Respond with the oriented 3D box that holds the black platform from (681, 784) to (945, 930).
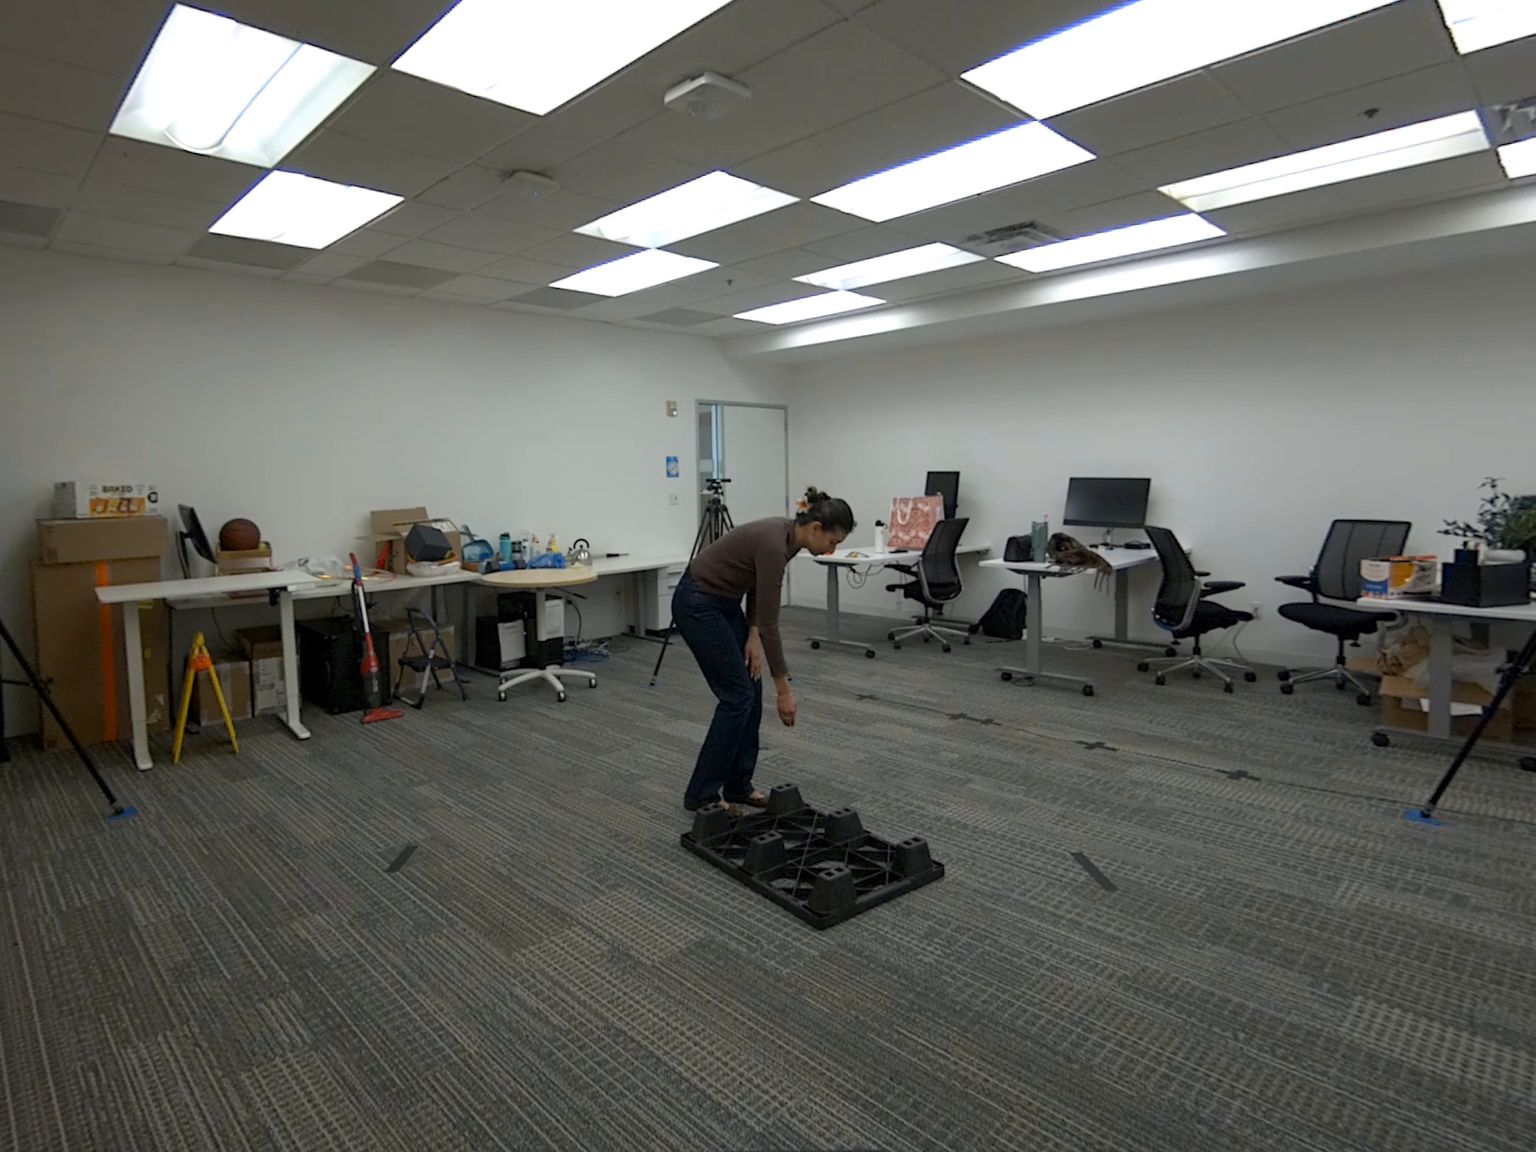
[{"bbox_3d":[0.136,0.971,3.119,0.589,0.143,0.830,-5,7,-38],"label":"black platform"}]
